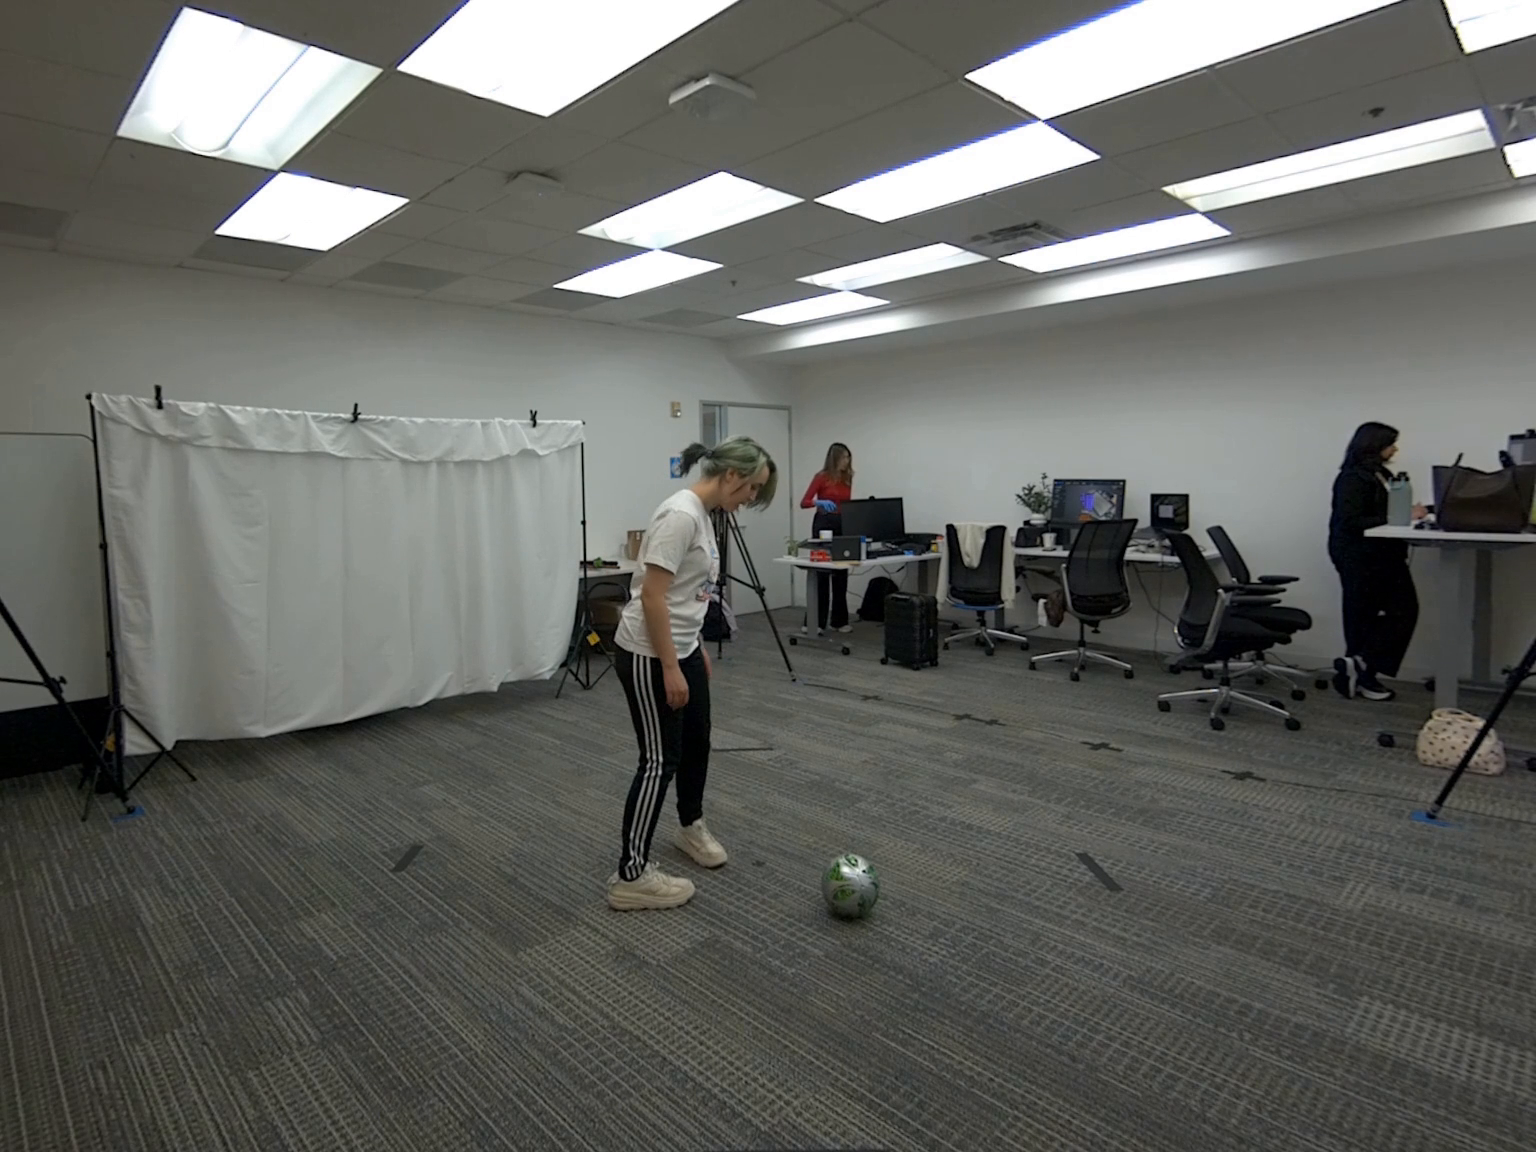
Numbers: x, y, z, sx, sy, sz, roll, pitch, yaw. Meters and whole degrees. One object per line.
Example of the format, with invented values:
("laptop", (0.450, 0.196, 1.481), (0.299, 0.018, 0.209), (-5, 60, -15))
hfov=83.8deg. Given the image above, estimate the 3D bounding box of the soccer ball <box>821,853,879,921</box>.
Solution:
("soccer ball", (0.262, 0.983, 2.734), (0.187, 0.187, 0.188), (-1, 5, -2))
